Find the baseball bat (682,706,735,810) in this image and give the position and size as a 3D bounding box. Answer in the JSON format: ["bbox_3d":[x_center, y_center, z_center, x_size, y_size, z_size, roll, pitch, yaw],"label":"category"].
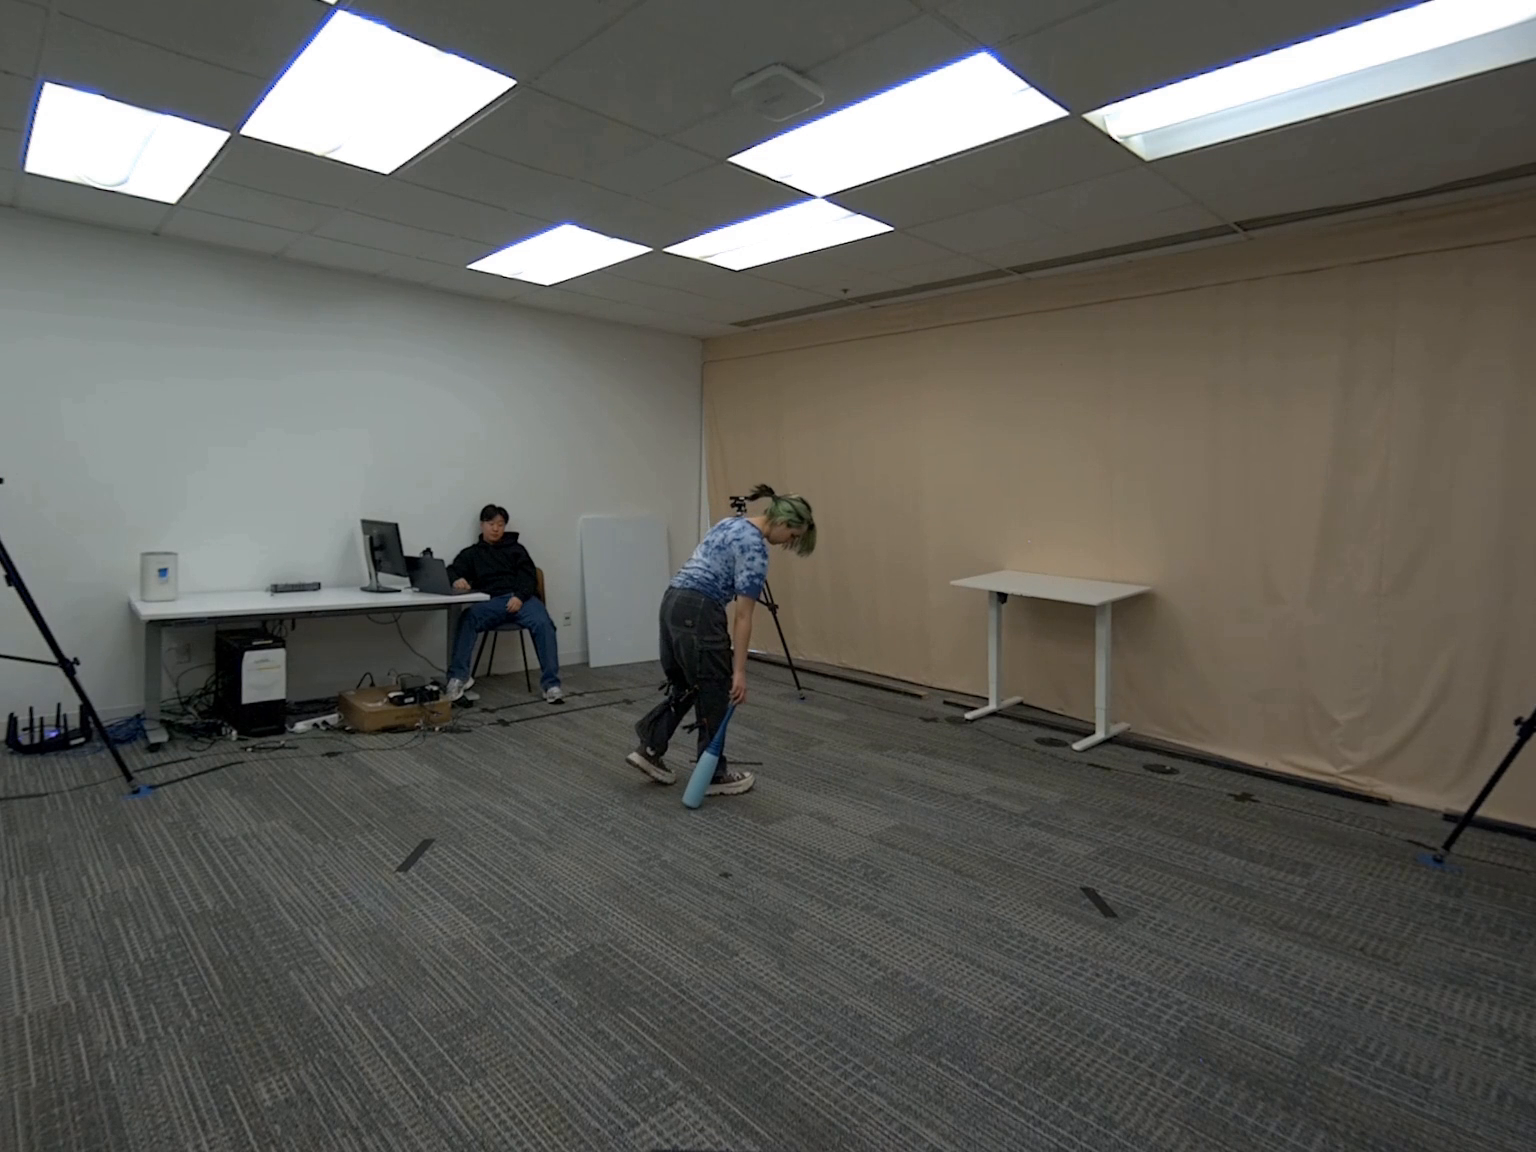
[{"bbox_3d":[-0.264,0.787,3.801,0.089,0.544,0.089,23,-4,0],"label":"baseball bat"}]
